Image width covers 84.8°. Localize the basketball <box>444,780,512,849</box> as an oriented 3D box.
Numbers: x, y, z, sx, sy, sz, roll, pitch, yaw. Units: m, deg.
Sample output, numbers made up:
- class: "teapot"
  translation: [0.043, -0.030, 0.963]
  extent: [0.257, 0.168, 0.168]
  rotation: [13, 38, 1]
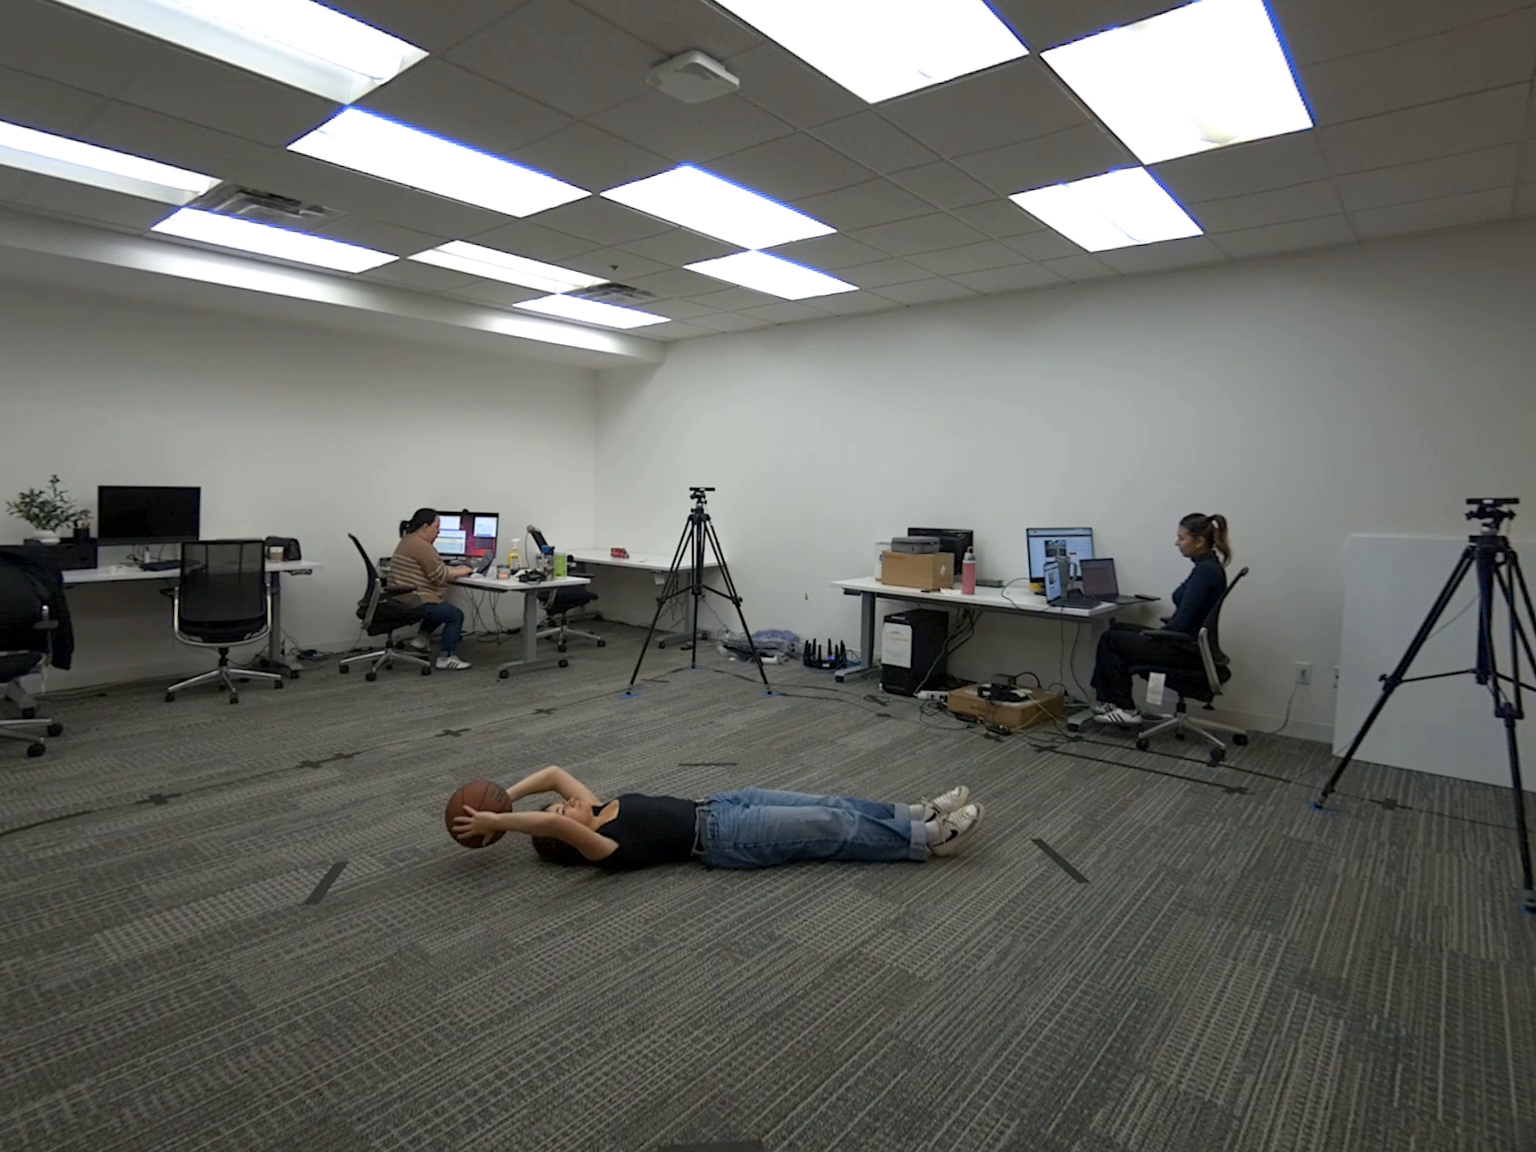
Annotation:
- class: "basketball"
  translation: [-1.058, 0.849, 3.109]
  extent: [0.235, 0.235, 0.237]
  rotation: [1, 4, -2]
